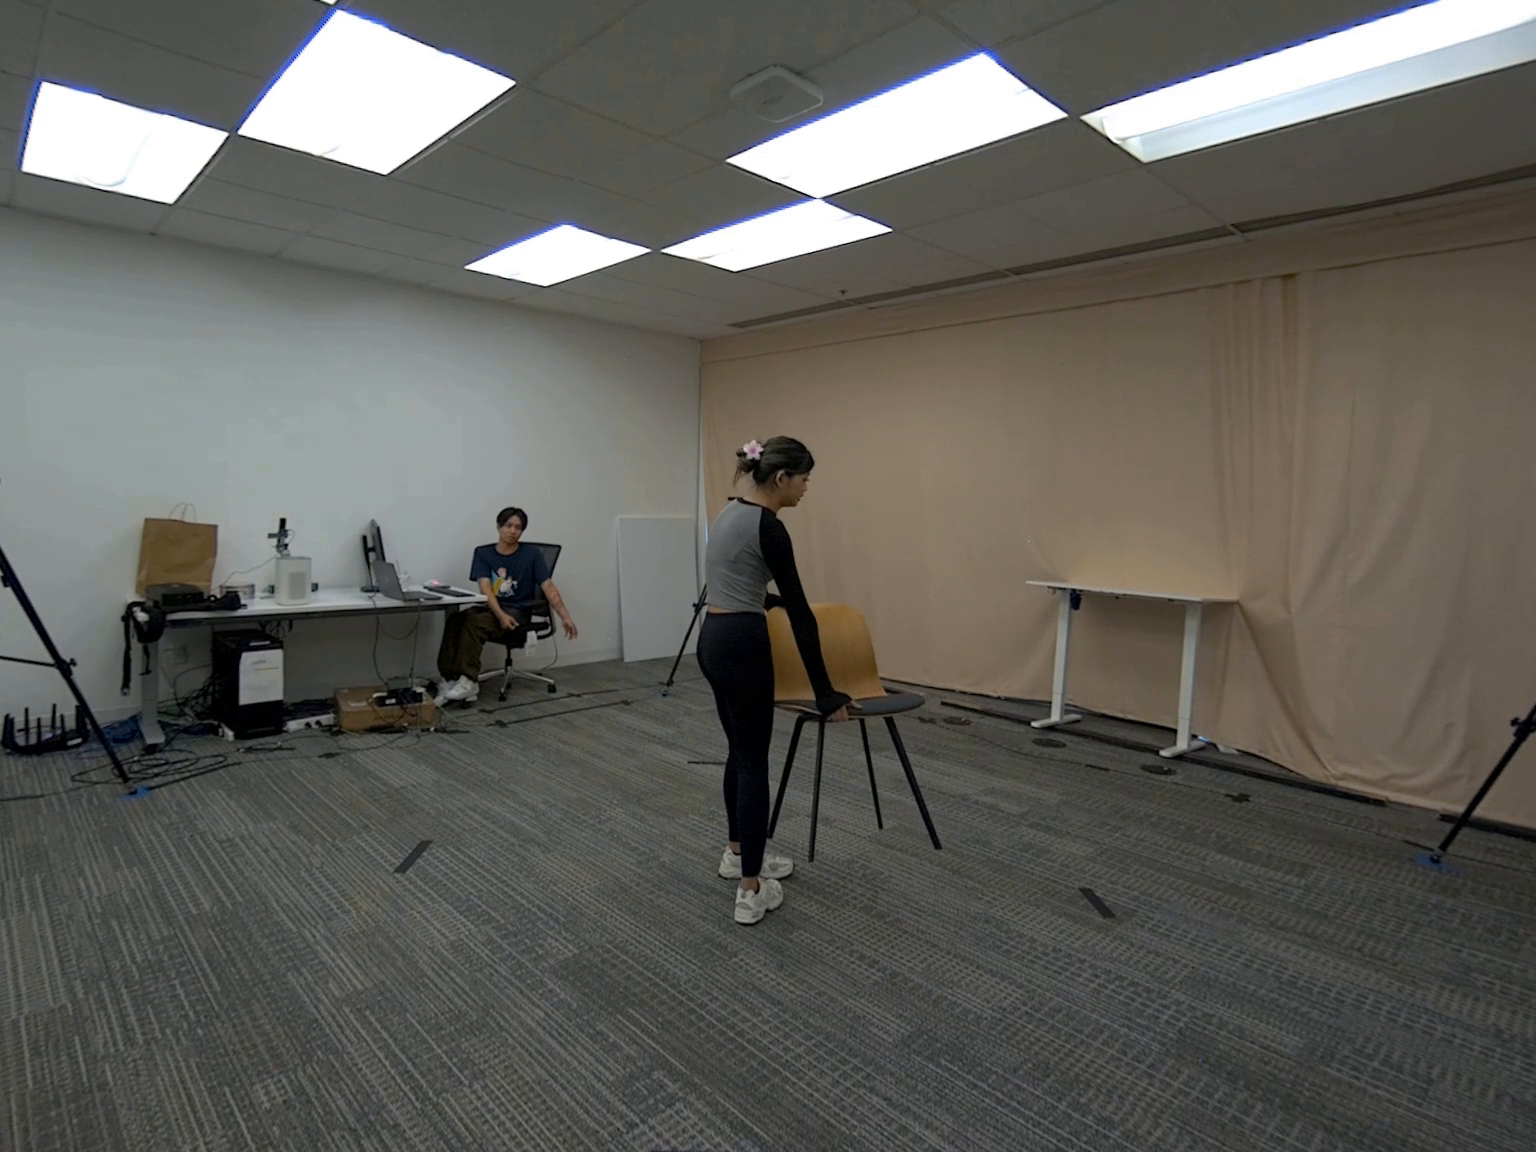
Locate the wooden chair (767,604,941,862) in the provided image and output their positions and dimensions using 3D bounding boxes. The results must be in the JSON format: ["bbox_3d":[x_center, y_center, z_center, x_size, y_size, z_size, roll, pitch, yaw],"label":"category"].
[{"bbox_3d":[0.256,0.494,2.906,0.472,0.886,0.524,0,-13,-16],"label":"wooden chair"}]
